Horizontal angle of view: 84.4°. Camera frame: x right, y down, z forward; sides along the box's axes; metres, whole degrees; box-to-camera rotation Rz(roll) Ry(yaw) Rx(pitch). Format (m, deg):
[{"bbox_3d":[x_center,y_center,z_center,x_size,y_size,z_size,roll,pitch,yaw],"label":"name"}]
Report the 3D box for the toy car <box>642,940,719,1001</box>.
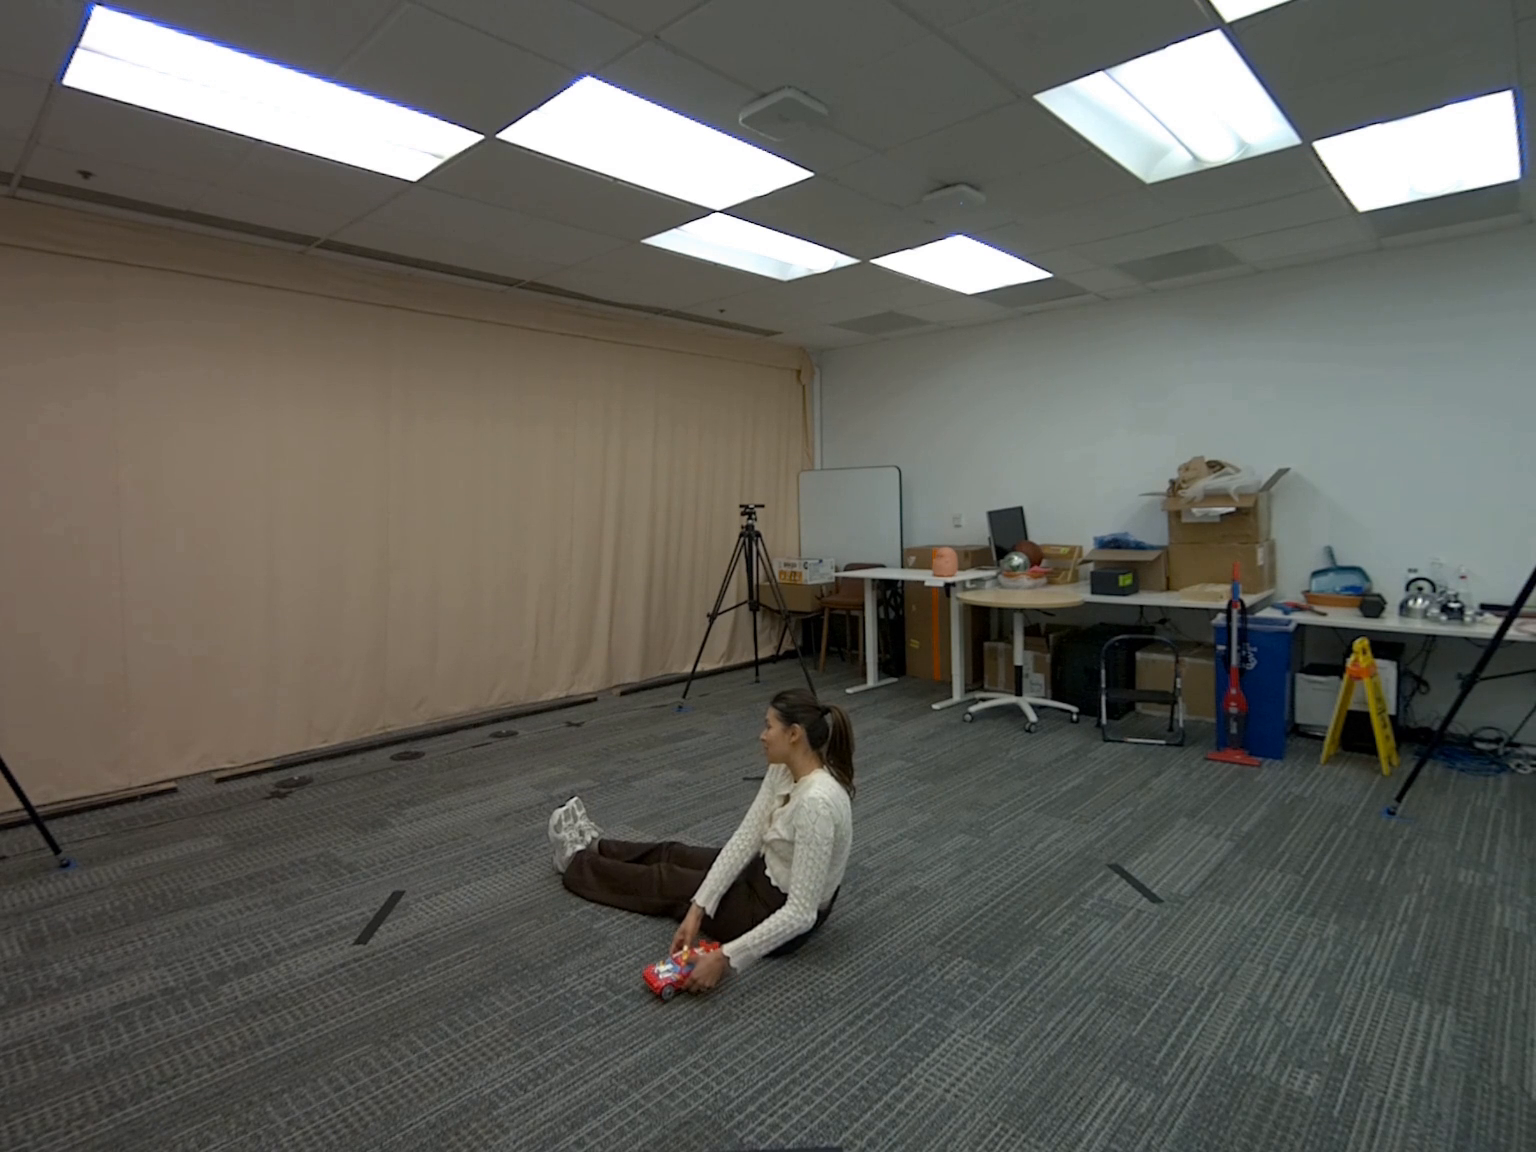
[{"bbox_3d":[-0.246,1.136,2.446,0.249,0.082,0.134,-16,11,-27],"label":"toy car"}]
